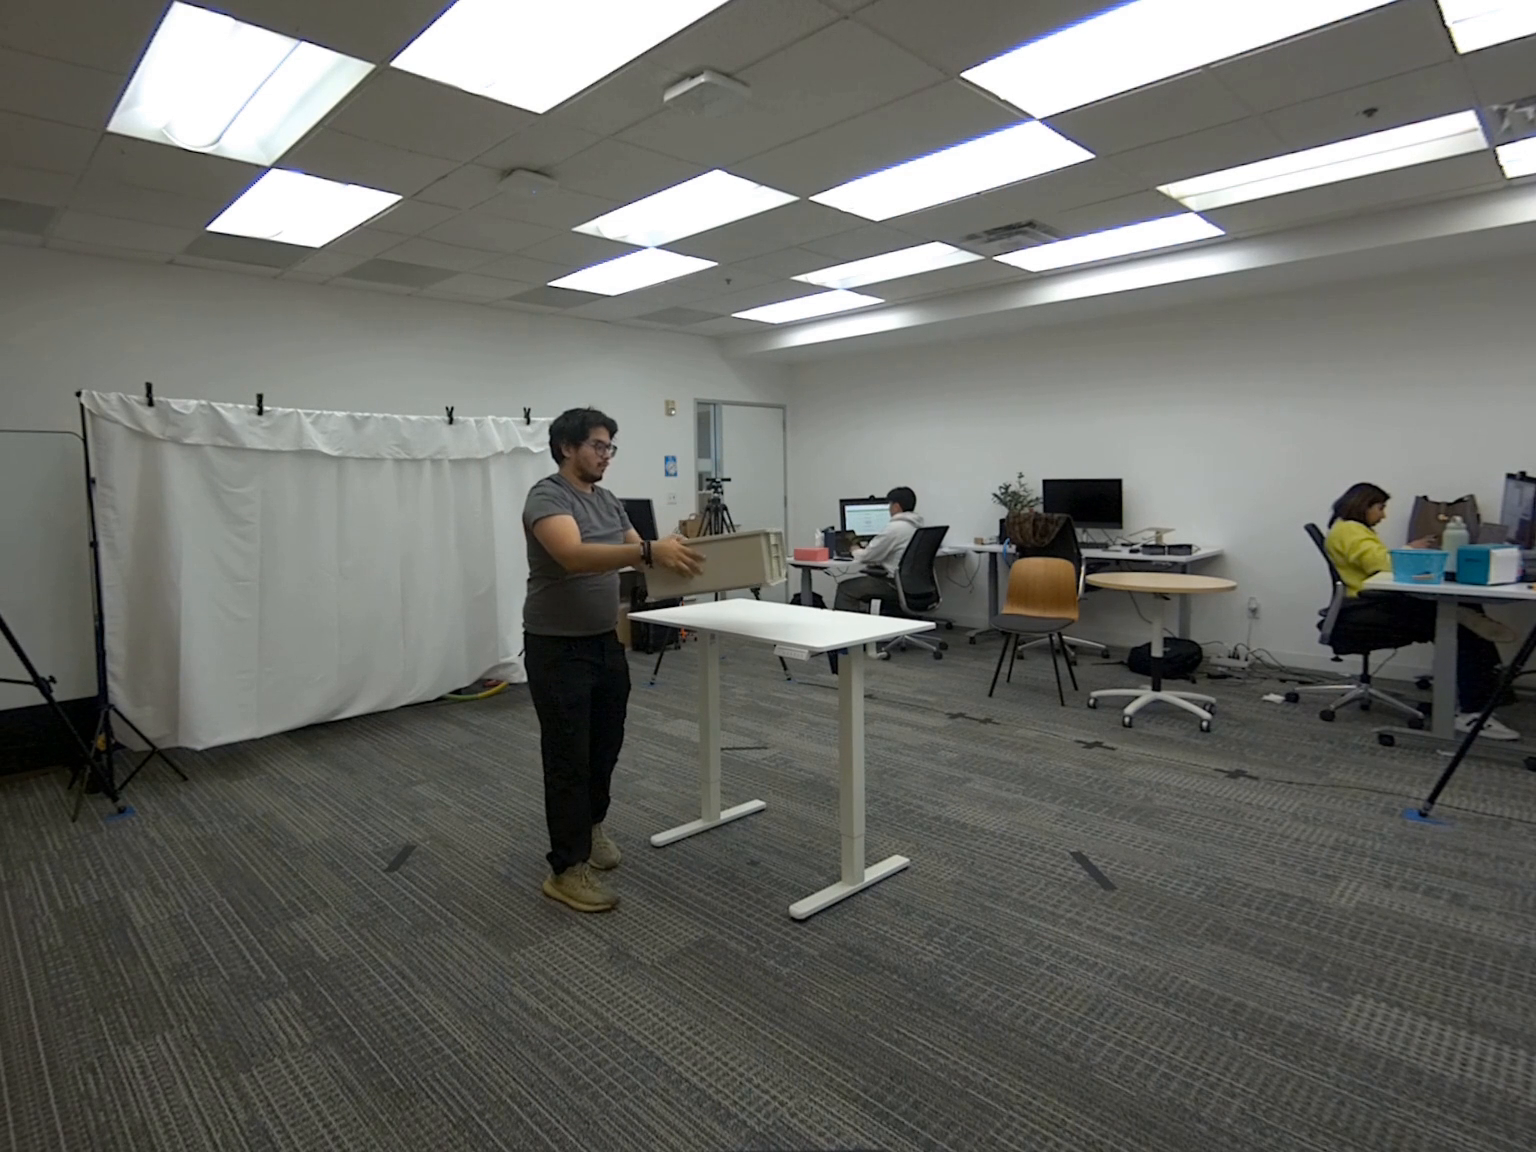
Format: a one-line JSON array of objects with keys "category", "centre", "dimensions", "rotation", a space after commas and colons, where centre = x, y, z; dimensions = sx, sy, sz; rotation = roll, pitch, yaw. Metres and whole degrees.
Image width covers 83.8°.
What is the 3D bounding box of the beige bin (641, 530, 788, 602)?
[{"category": "beige bin", "centre": [-0.171, -0.037, 2.819], "dimensions": [0.427, 0.189, 0.373], "rotation": [-6, 1, 11]}]
